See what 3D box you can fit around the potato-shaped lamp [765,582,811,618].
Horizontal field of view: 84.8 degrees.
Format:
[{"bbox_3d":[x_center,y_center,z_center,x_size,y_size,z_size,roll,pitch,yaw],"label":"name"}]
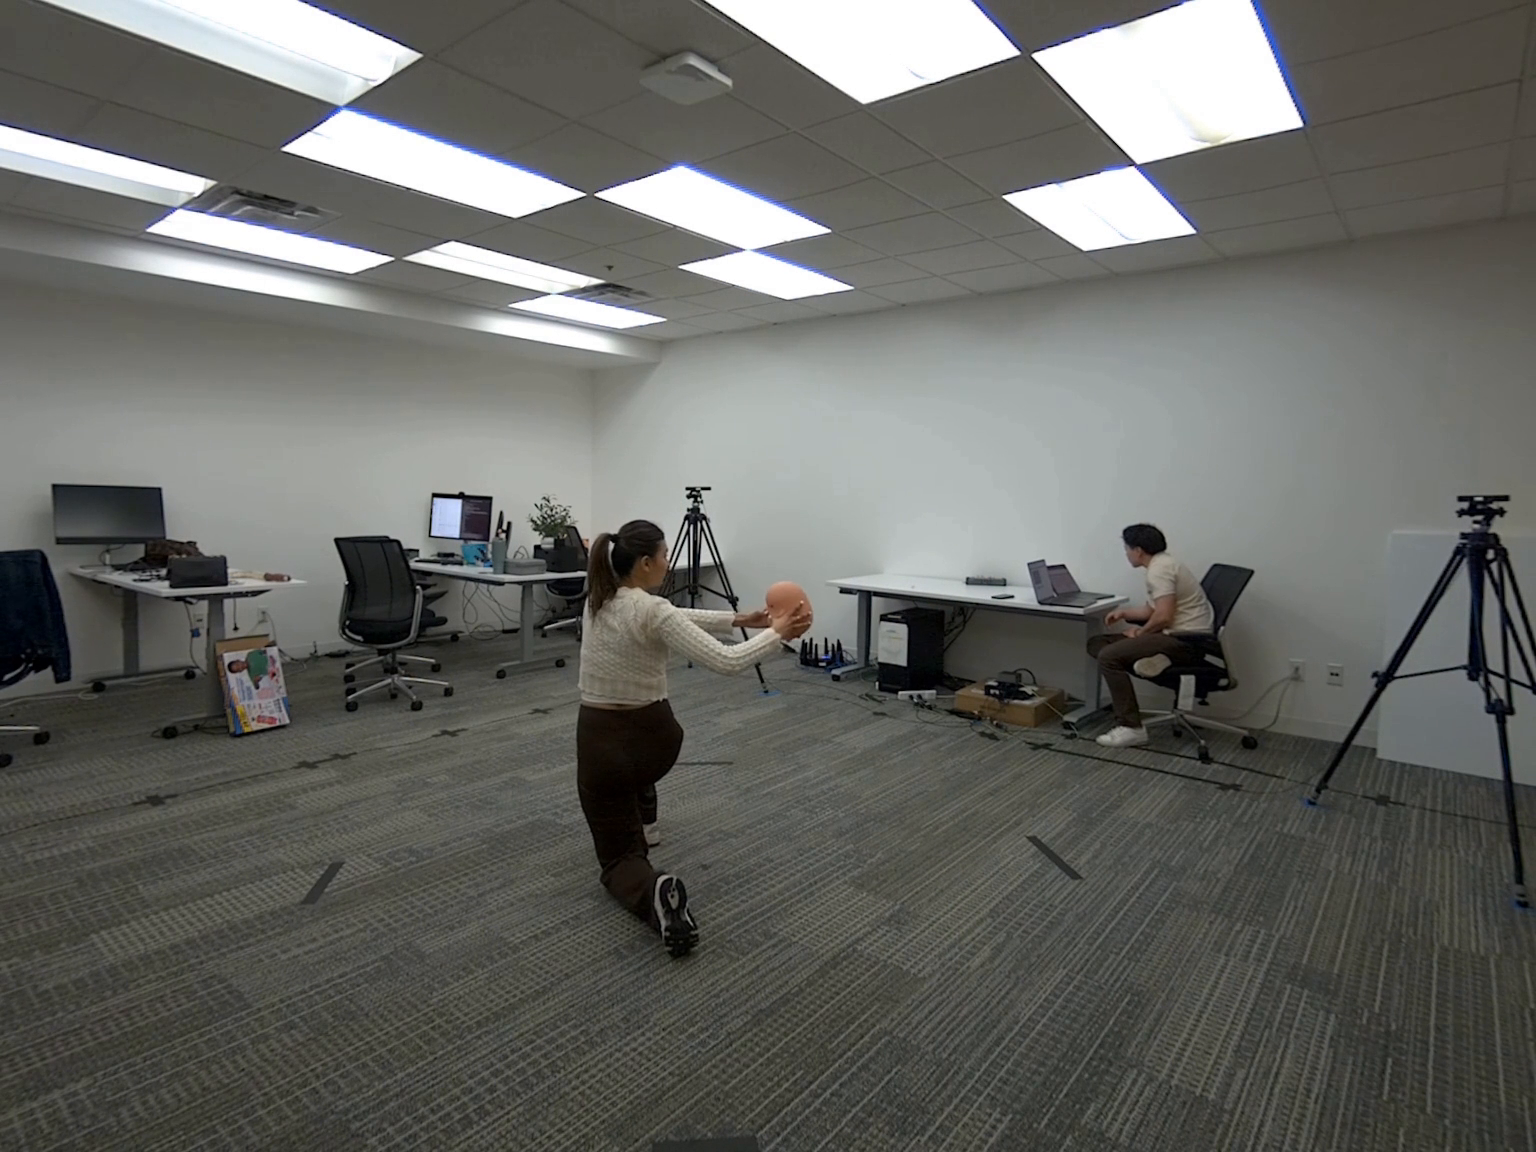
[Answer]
[{"bbox_3d":[0.035,0.113,3.112,0.170,0.195,0.168,-26,11,-10],"label":"potato-shaped lamp"}]
